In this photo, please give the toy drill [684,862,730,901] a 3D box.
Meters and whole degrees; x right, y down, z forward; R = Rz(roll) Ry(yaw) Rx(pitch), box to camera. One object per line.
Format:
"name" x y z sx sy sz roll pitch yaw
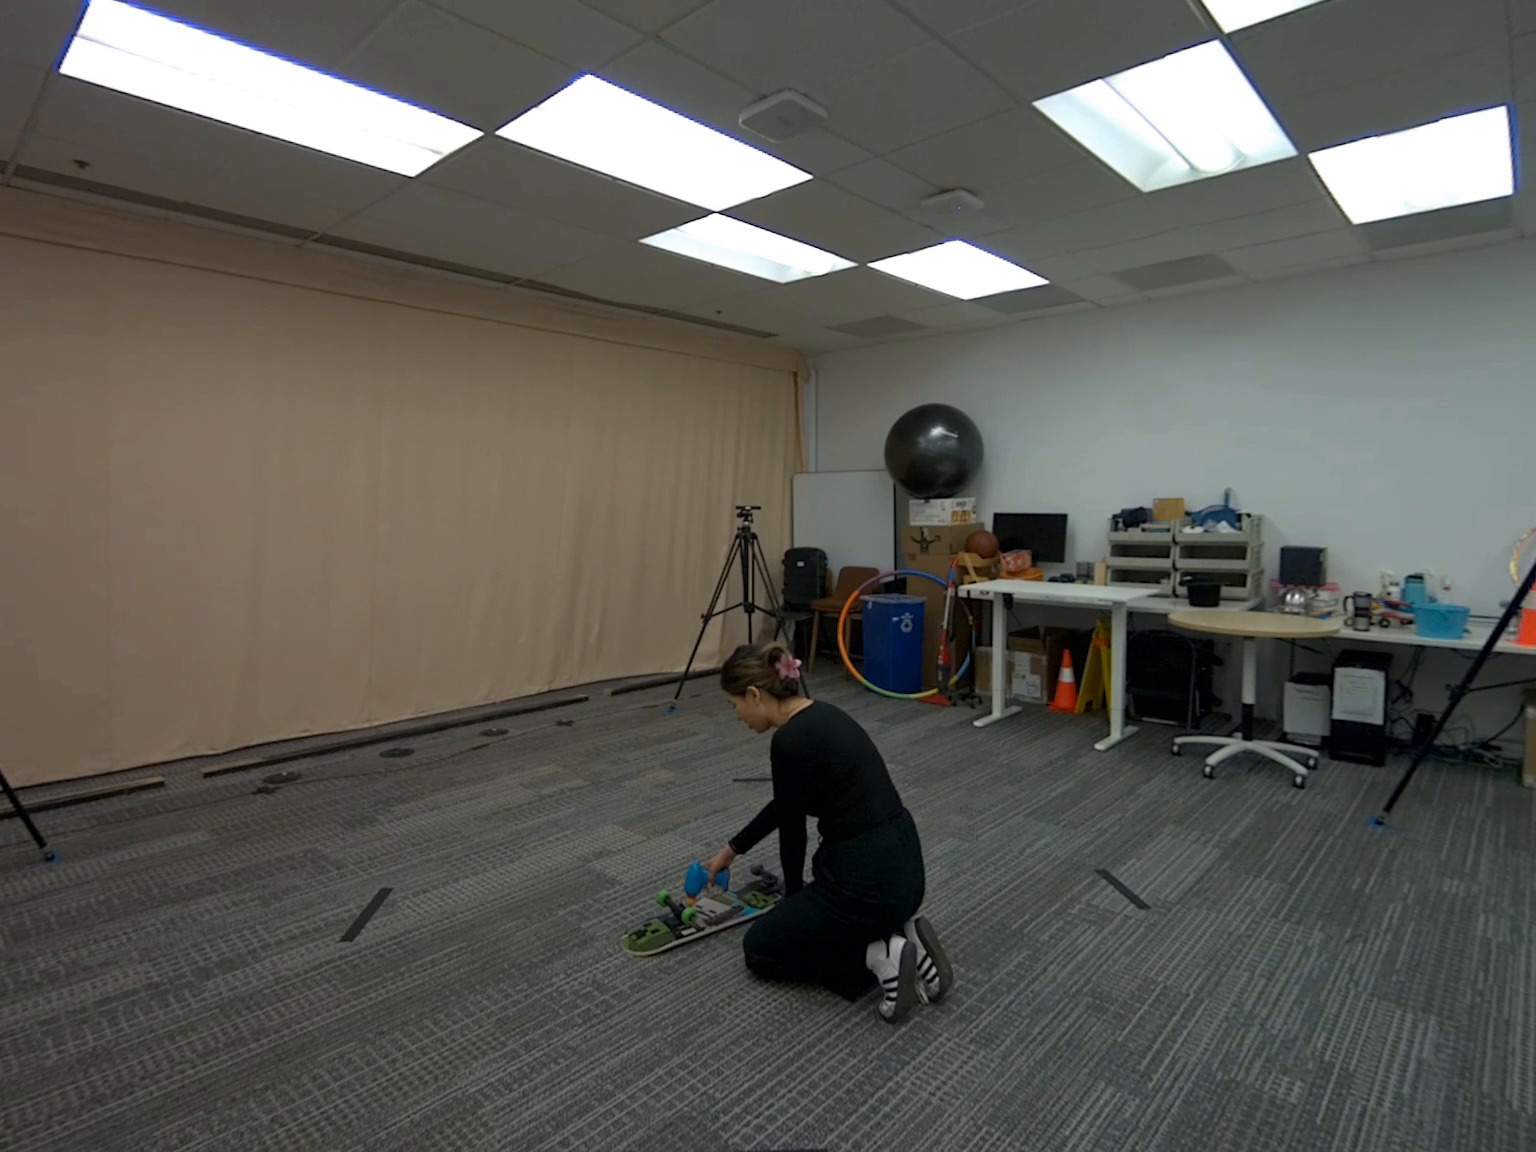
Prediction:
"toy drill" -0.204 1.033 2.767 0.145 0.170 0.061 9 -9 -4
